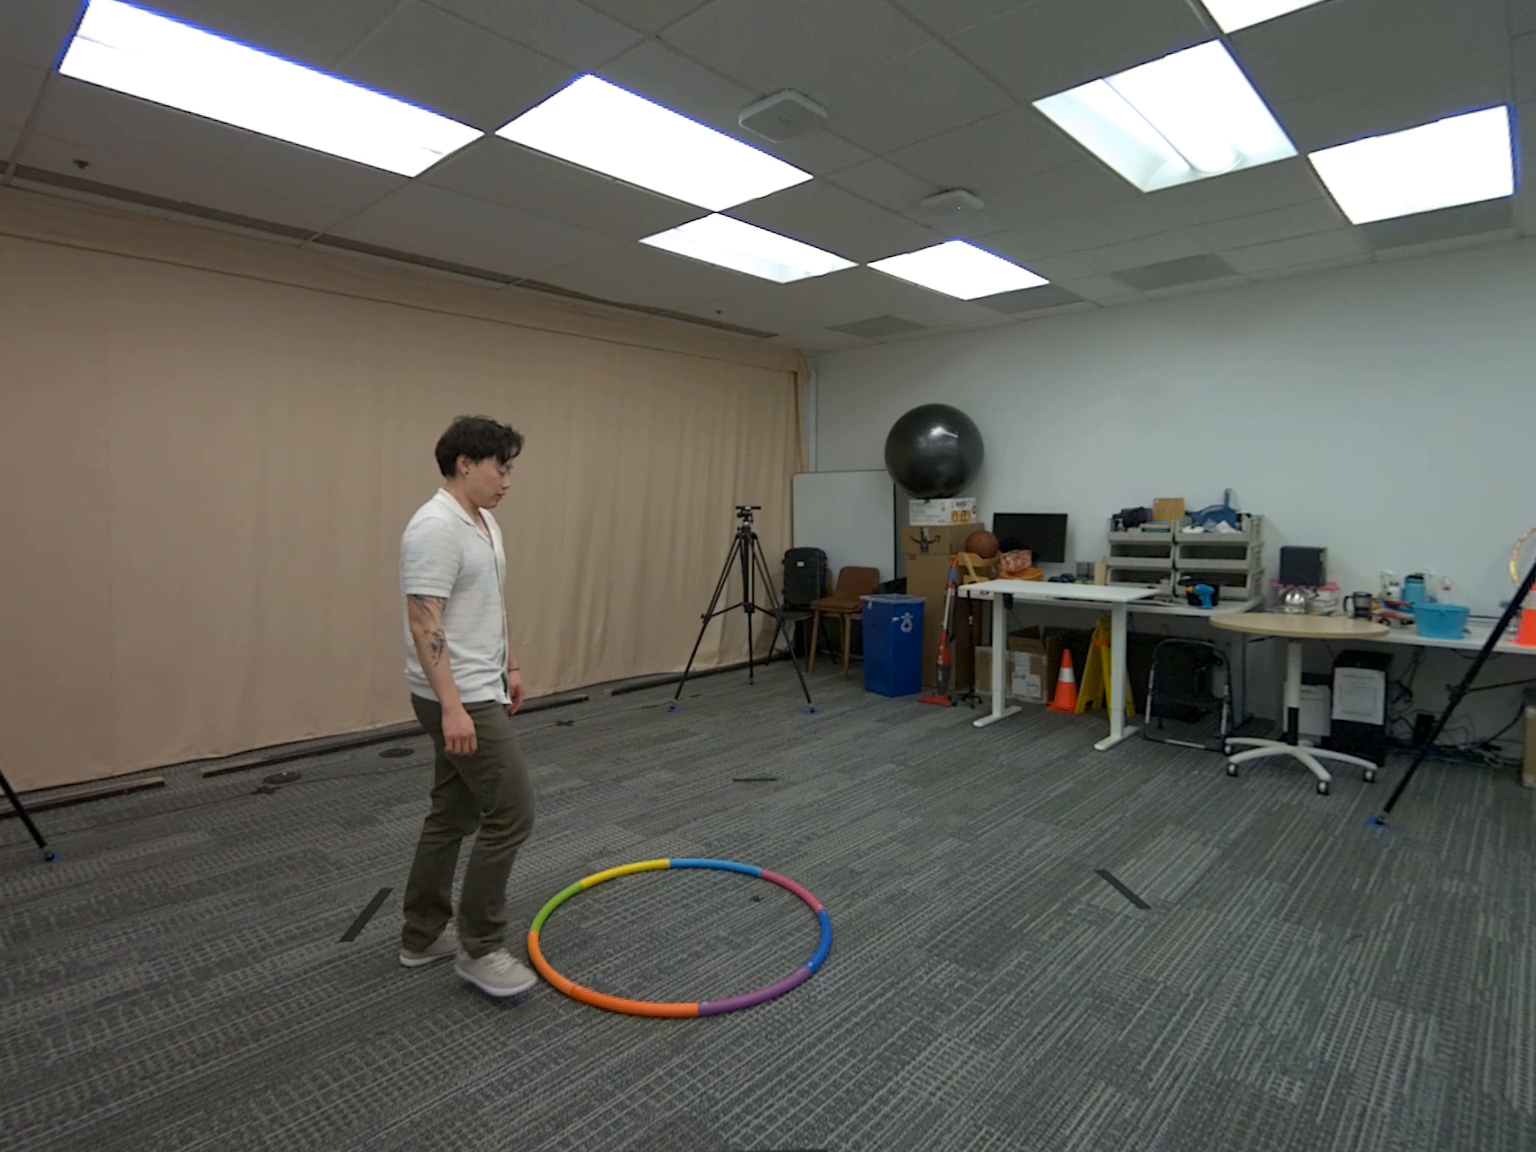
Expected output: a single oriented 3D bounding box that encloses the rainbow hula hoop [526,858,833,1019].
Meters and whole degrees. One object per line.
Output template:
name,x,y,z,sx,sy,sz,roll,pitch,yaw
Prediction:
rainbow hula hoop,-0.282,1.135,2.768,0.978,0.035,0.982,0,5,-2
